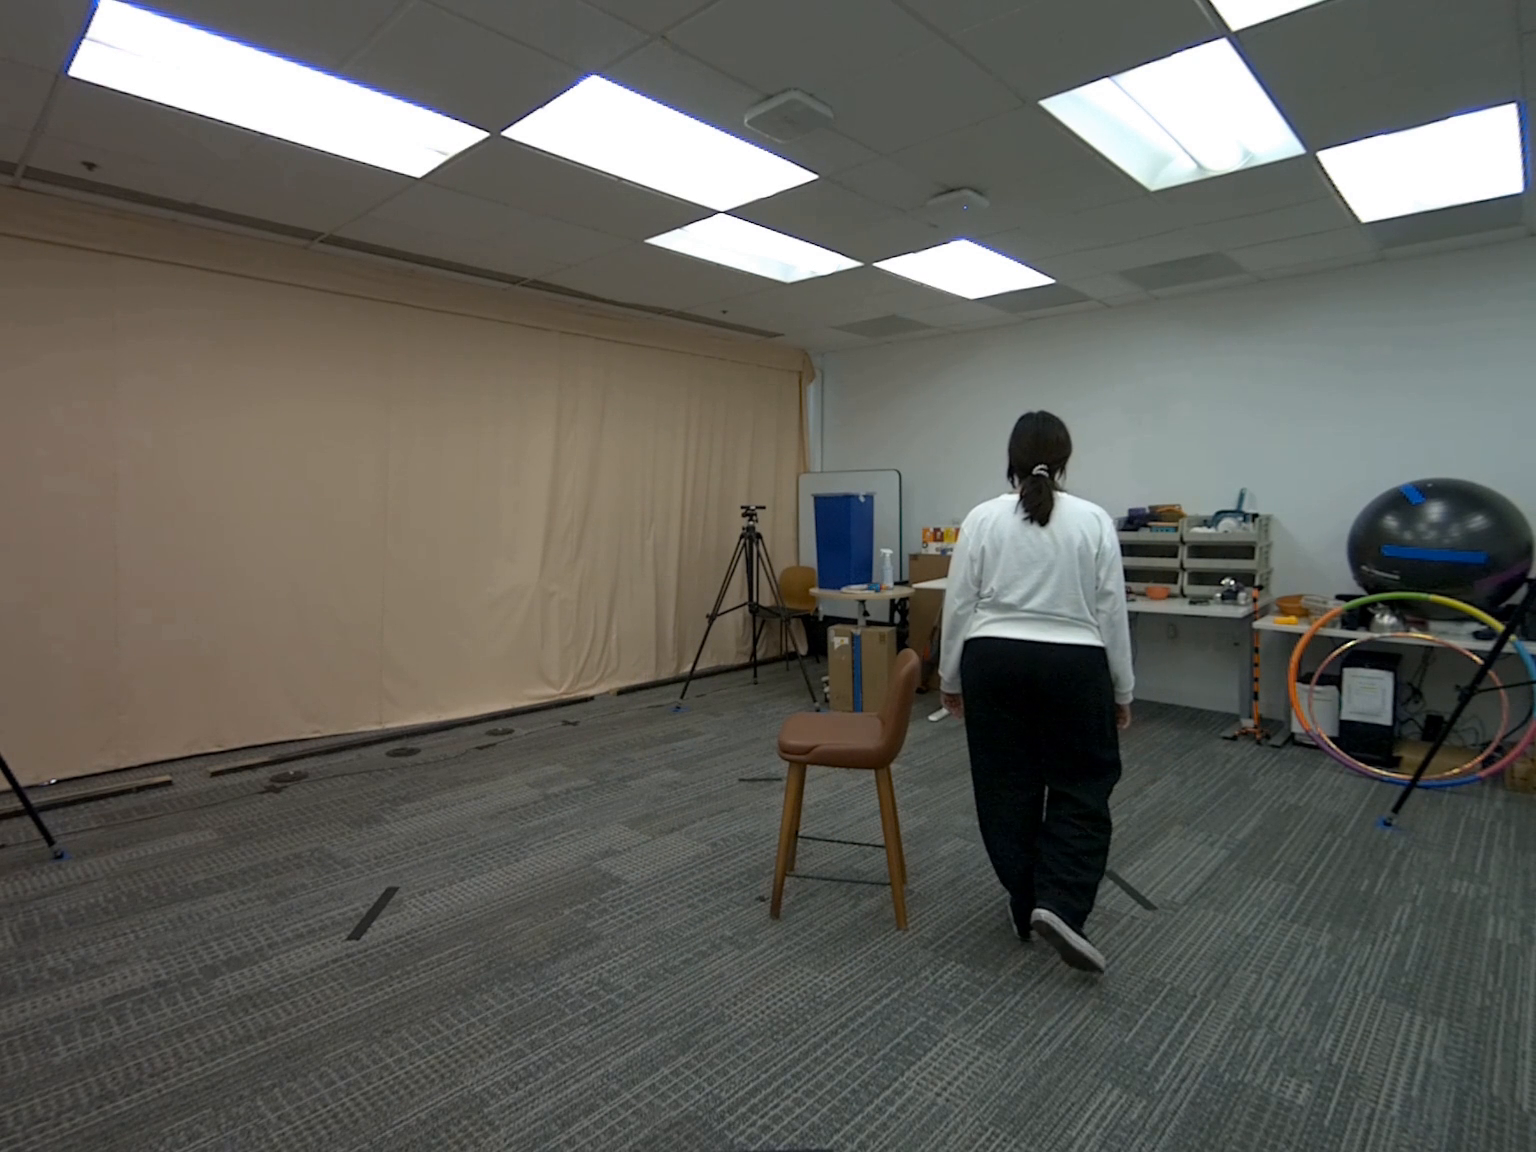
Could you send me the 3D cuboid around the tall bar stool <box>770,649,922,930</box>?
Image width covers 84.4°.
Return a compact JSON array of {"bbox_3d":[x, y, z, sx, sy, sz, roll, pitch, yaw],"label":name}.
[{"bbox_3d":[0.280,0.707,2.961,0.474,0.888,0.451,3,4,11],"label":"tall bar stool"}]
